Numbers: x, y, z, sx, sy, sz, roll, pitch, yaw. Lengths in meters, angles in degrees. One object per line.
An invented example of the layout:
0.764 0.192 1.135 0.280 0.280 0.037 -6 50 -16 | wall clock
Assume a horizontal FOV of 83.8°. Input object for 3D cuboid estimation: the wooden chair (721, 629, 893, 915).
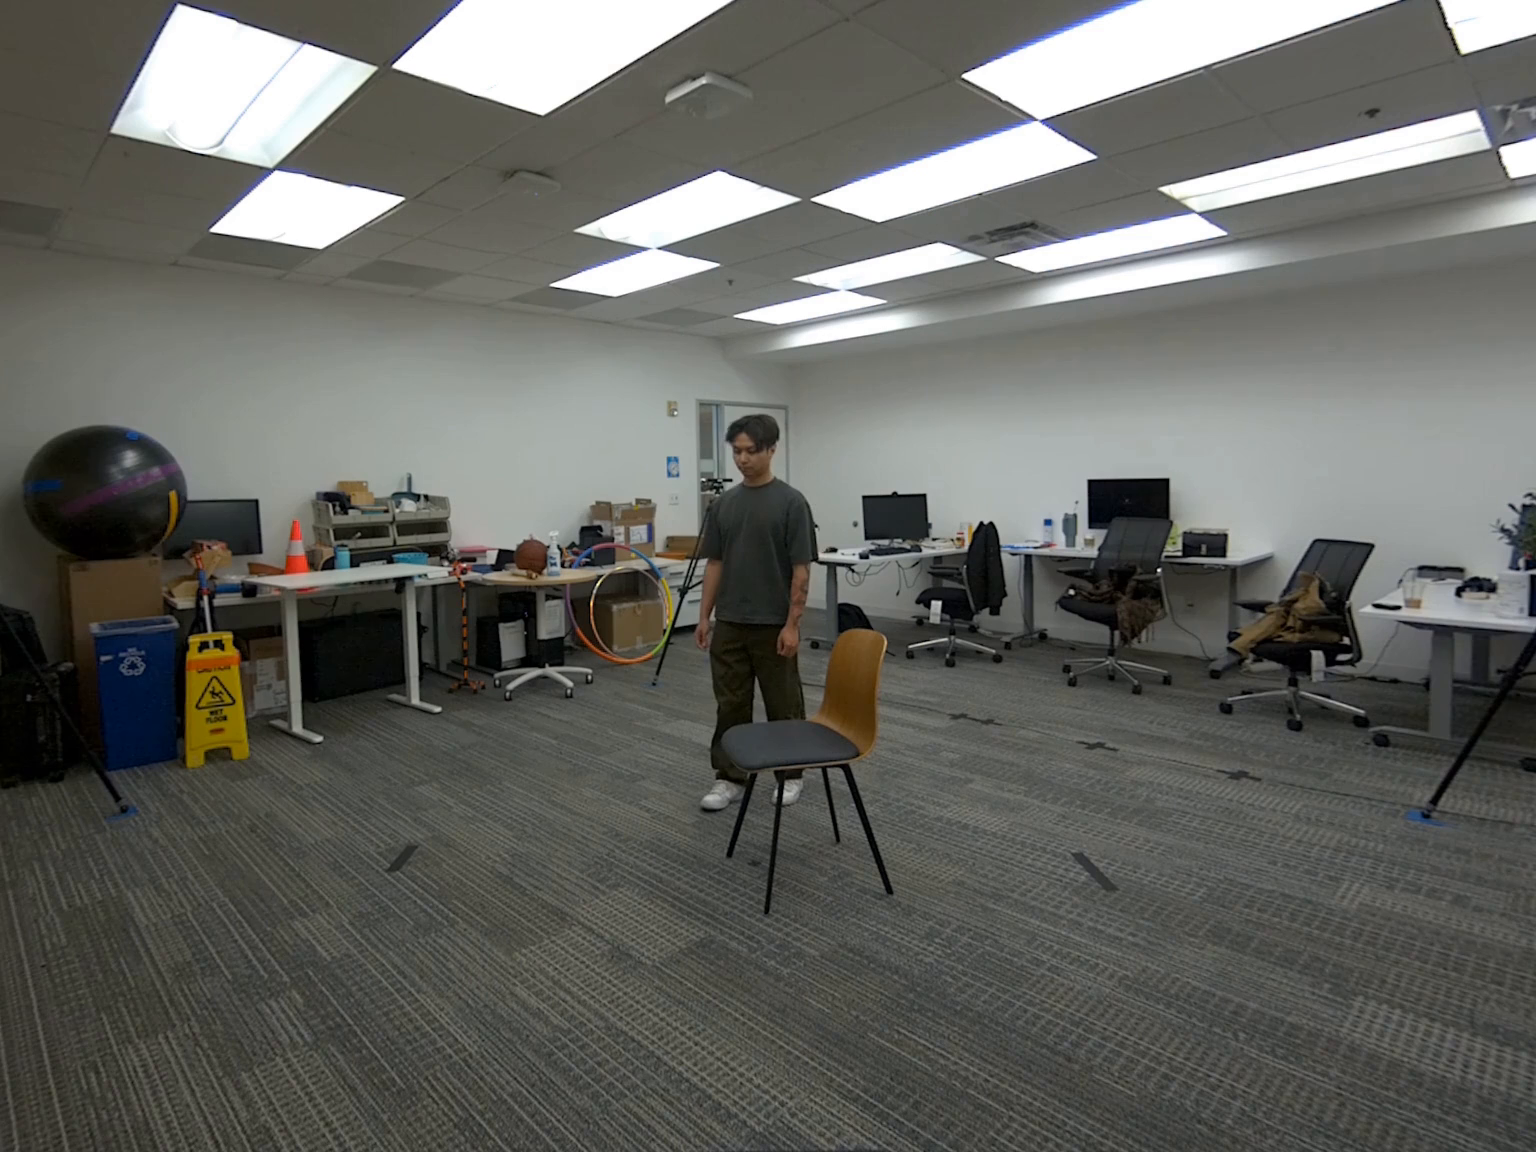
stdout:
0.123 0.631 2.971 0.514 0.875 0.487 2 3 -18 | wooden chair
